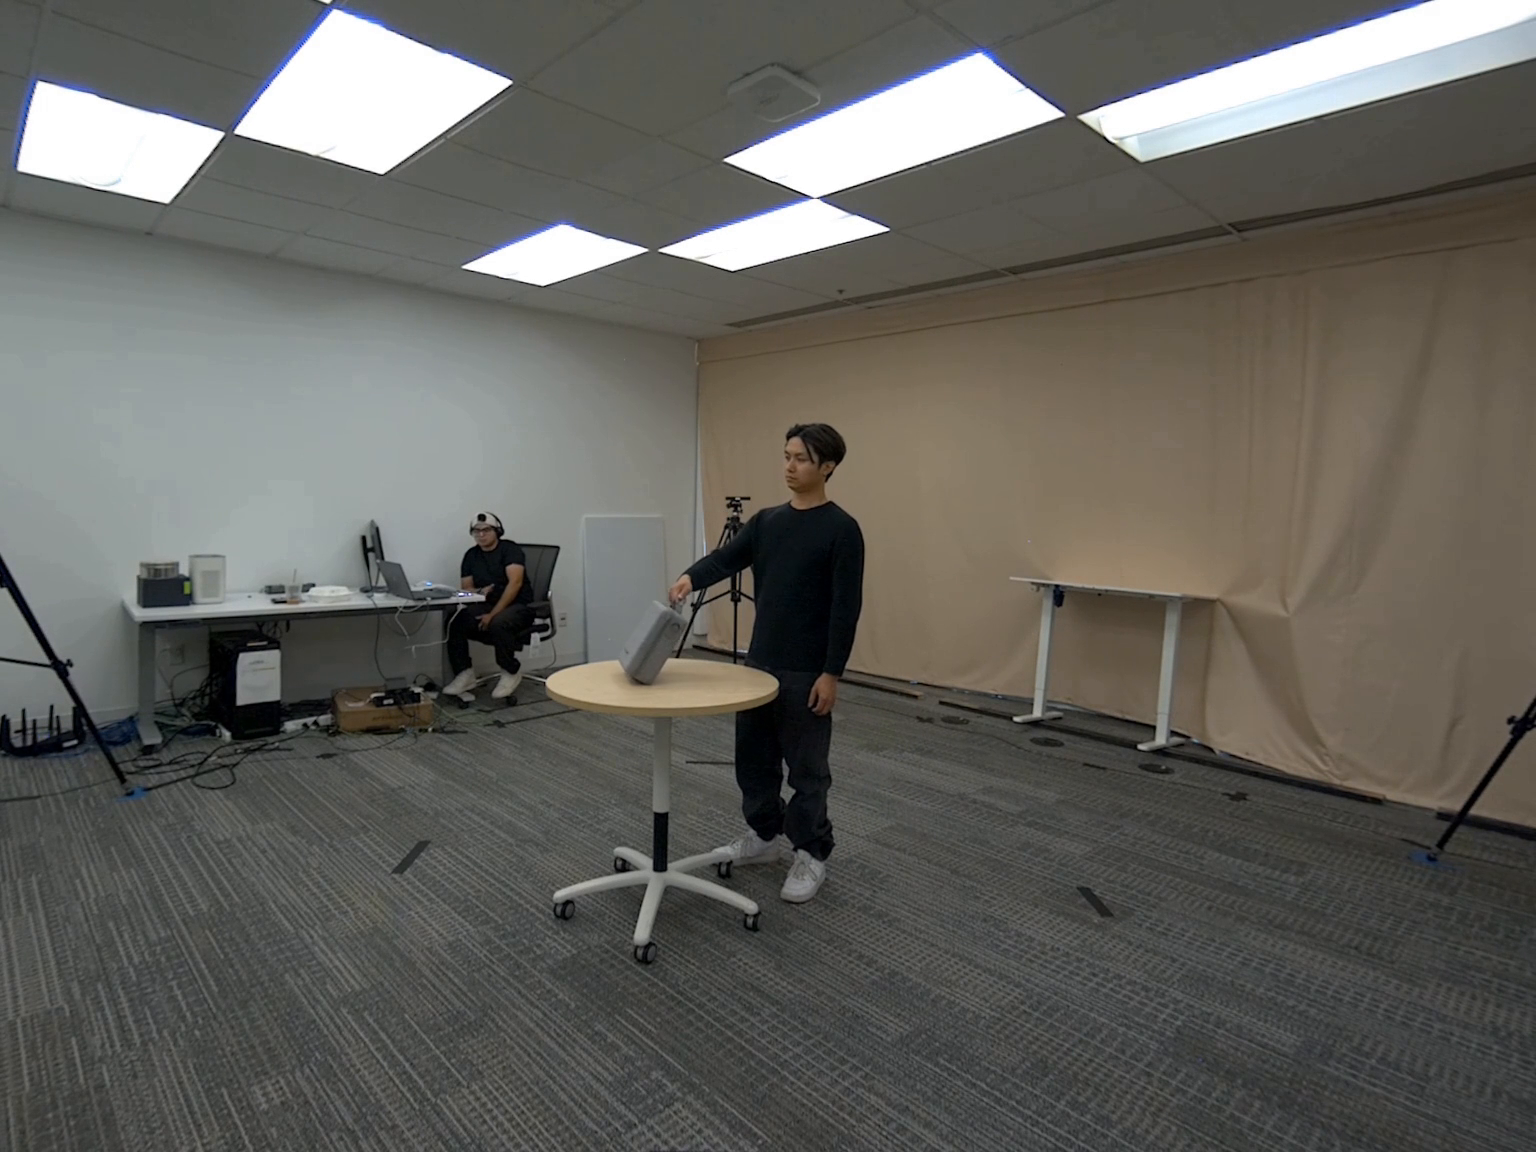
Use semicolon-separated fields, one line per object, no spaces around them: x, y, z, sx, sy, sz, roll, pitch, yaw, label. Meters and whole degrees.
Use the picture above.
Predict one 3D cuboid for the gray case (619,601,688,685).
-0.390;0.216;2.811;0.103;0.261;0.261;30;-3;-16;gray case
